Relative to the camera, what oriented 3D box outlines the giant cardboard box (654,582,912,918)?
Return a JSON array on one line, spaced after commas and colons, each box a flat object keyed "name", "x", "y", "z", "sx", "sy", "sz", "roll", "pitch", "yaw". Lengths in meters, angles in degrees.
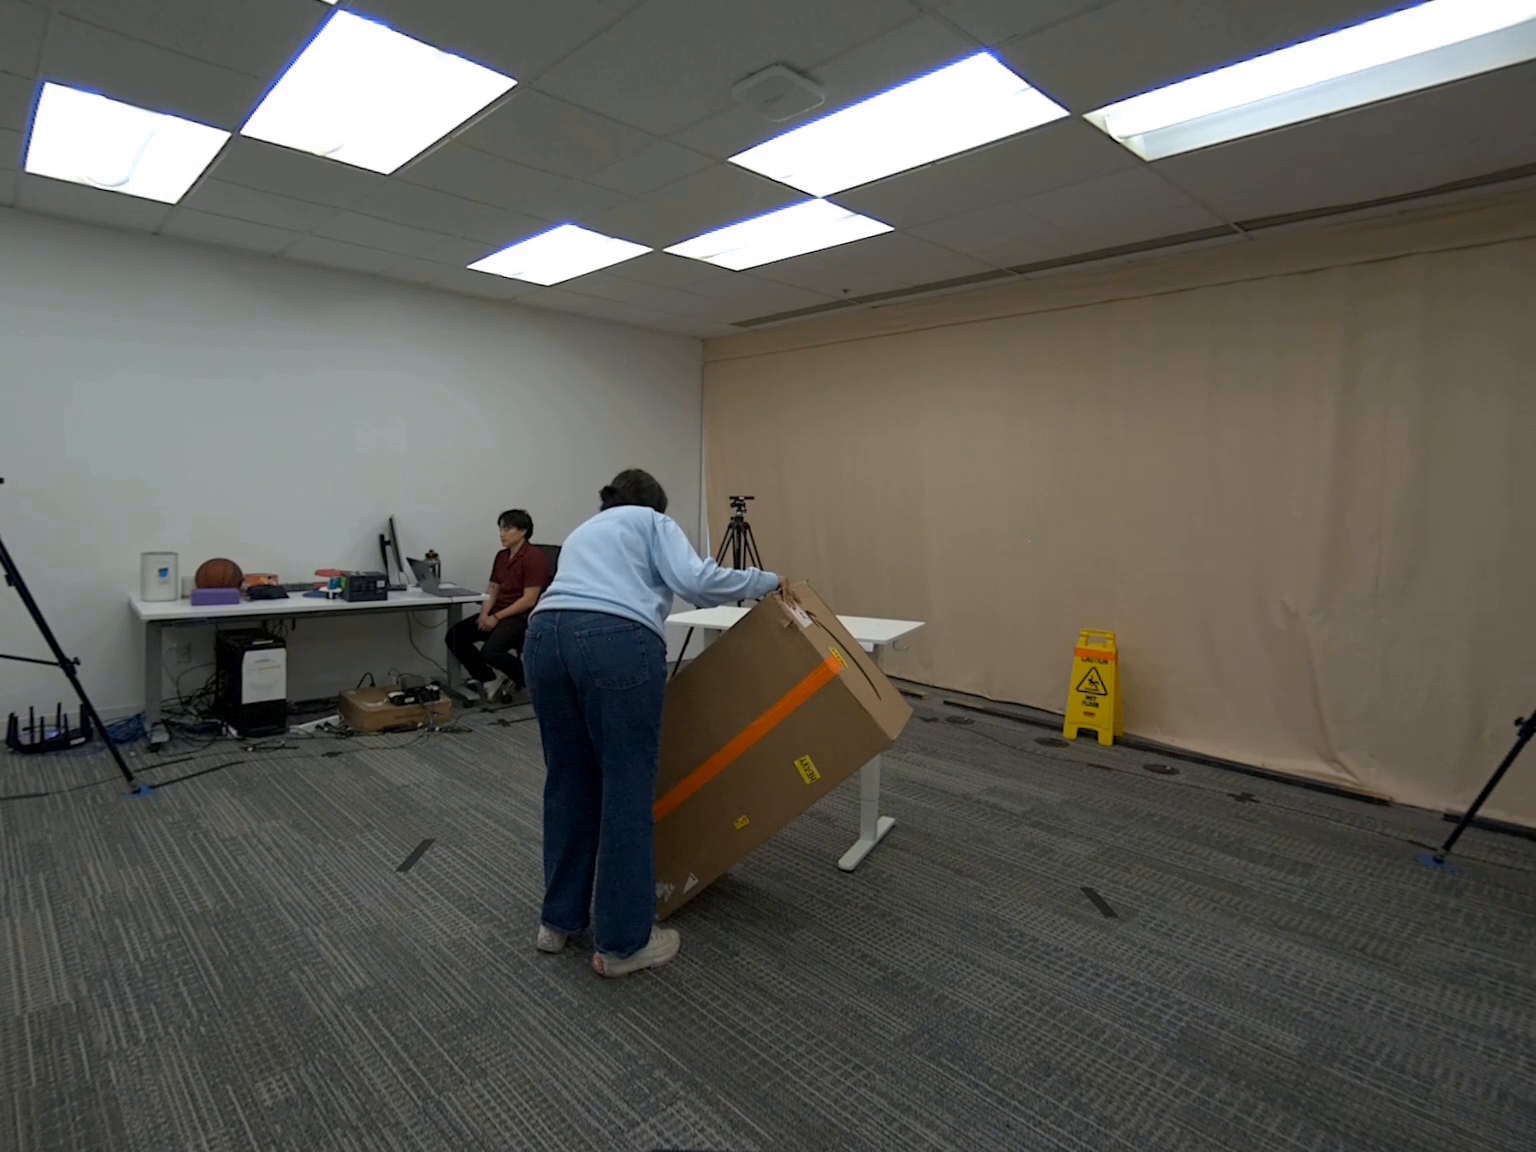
[{"name": "giant cardboard box", "x": -0.119, "y": 0.575, "z": 2.851, "sx": 1.027, "sy": 0.584, "sz": 0.421, "roll": -42, "pitch": -10, "yaw": 16}]
